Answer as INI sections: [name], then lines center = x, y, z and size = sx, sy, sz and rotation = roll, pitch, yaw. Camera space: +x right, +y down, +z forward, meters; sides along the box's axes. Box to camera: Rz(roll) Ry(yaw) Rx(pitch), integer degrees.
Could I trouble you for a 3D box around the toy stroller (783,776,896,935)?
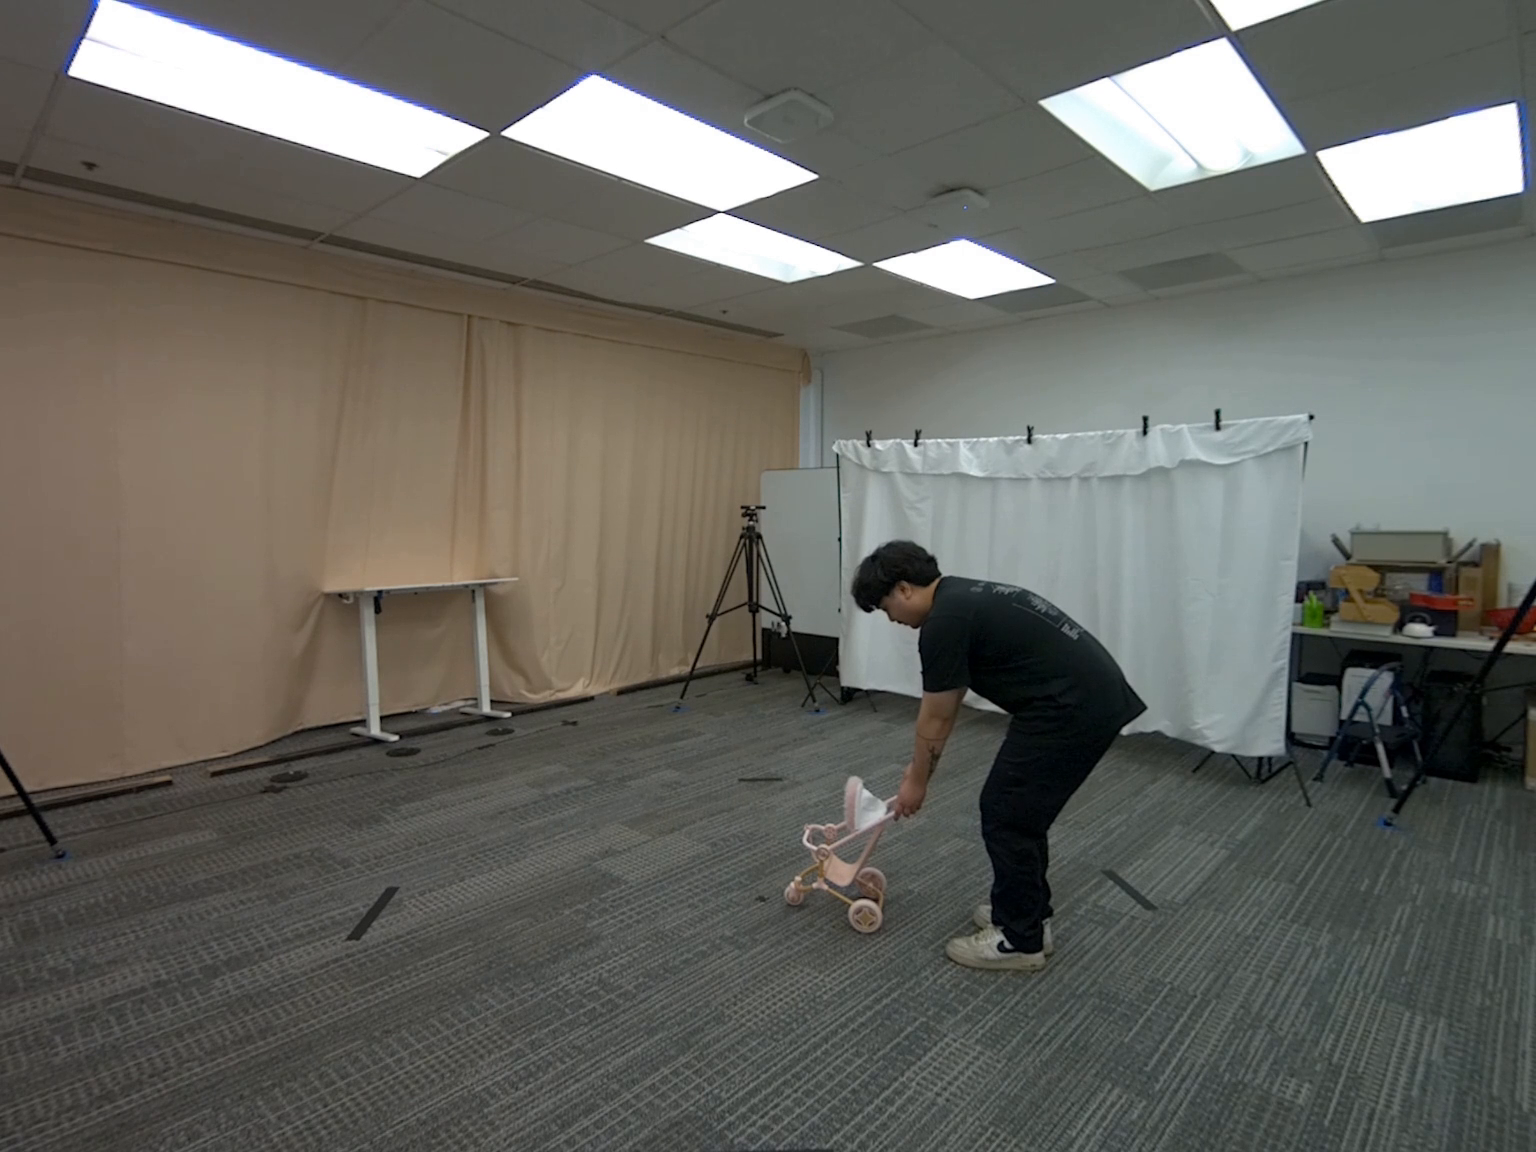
[toy stroller]
center = 0.284, 0.928, 2.876
size = 0.349, 0.533, 0.276
rotation = 17, 8, 17
